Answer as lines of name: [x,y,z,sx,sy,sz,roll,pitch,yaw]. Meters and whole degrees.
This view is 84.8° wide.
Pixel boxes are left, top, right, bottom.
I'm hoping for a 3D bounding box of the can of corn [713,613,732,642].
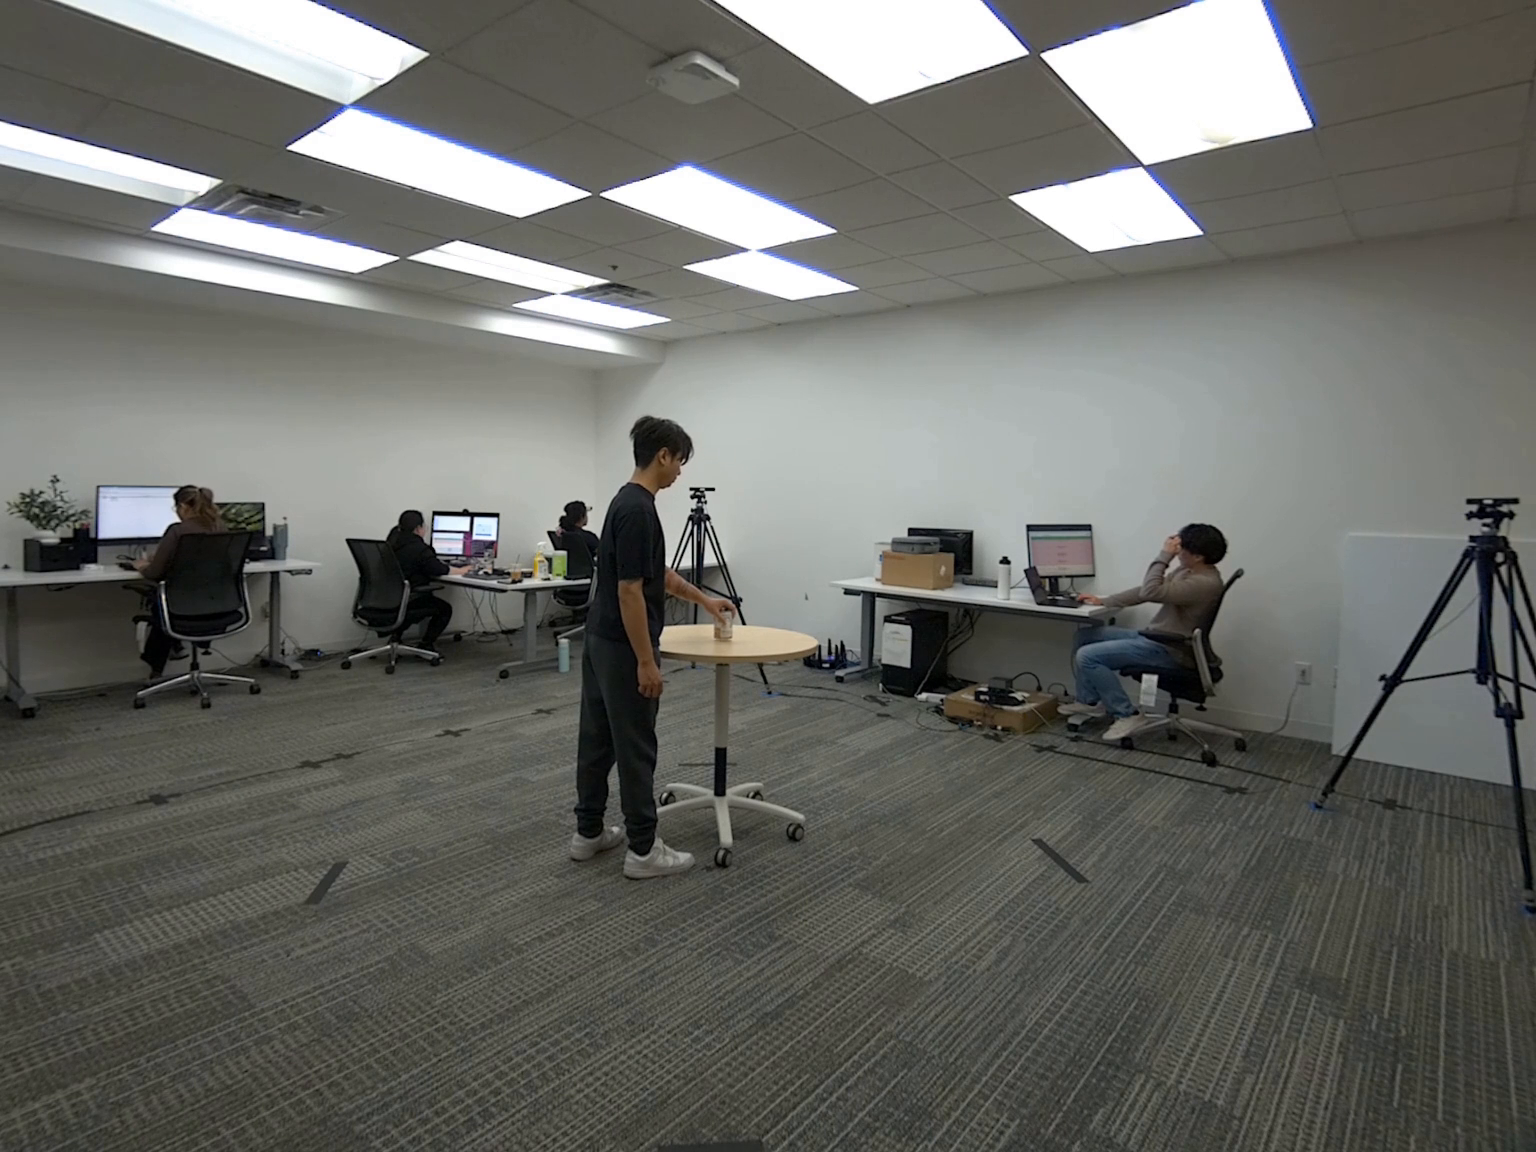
can of corn: [-0.194,0.193,3.406,0.074,0.111,0.074,-1,4,-2]
